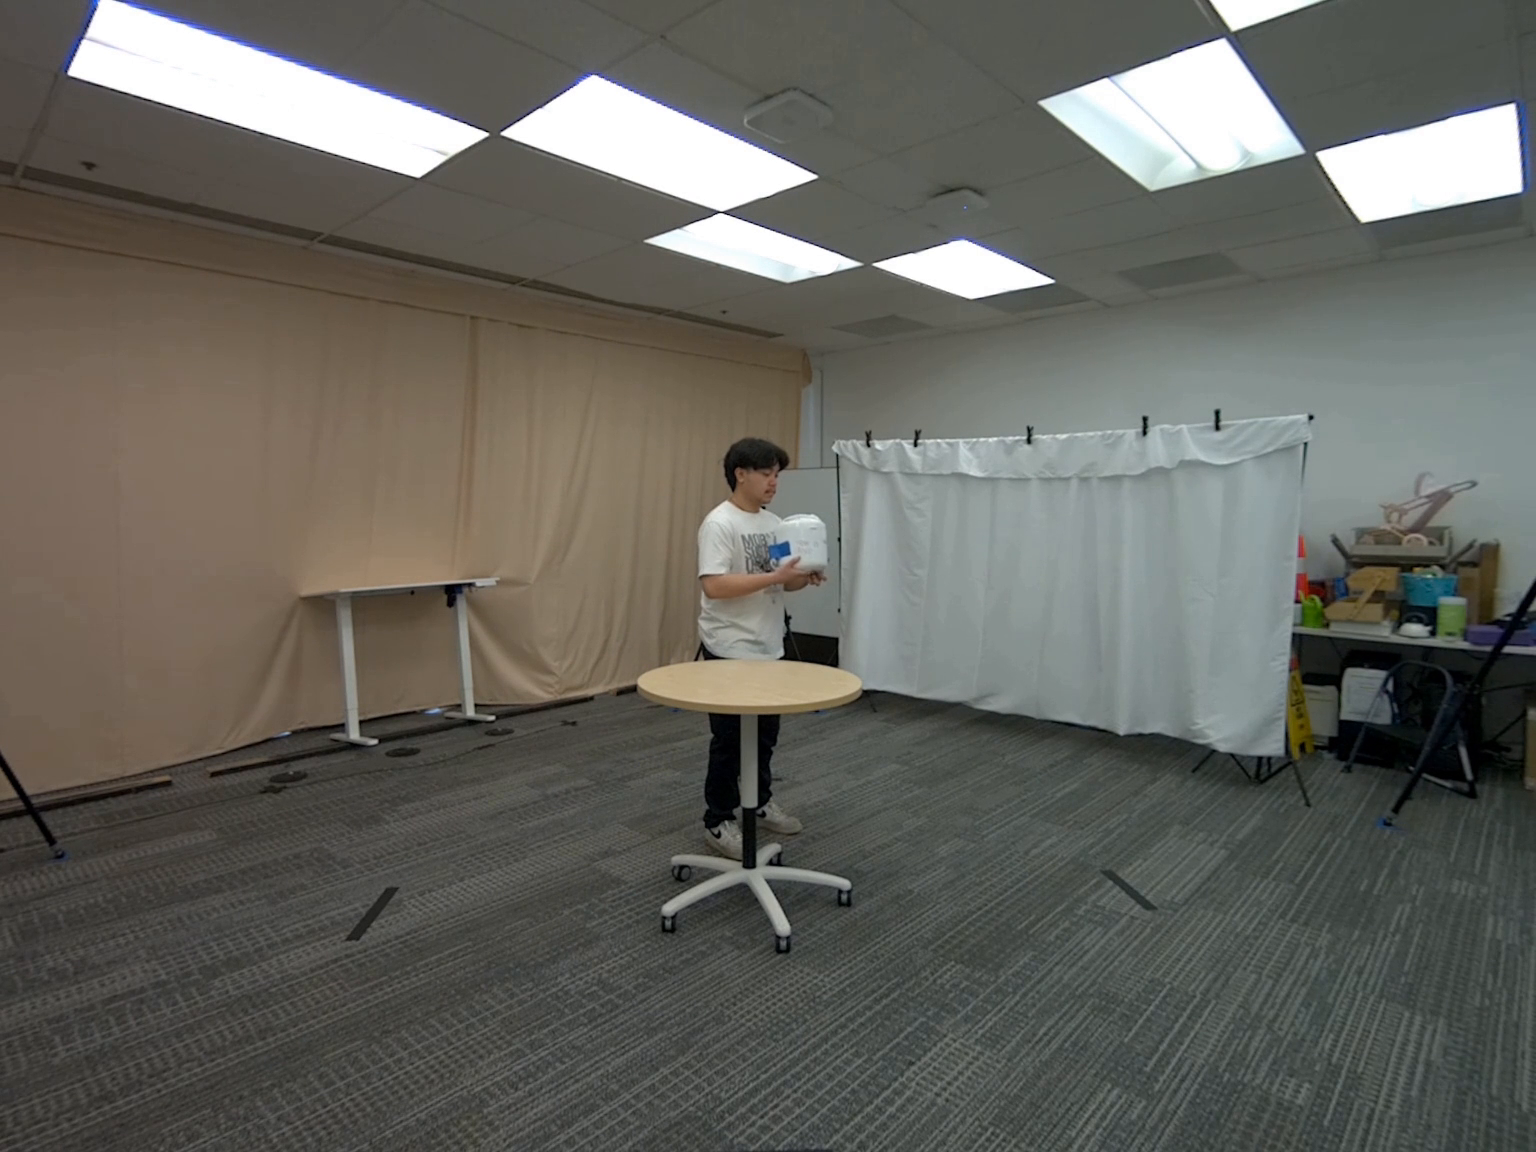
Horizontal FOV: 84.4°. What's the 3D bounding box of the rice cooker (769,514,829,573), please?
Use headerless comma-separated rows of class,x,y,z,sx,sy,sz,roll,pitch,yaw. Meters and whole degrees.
rice cooker,0.133,-0.128,3.347,0.225,0.234,0.212,-5,-5,22
